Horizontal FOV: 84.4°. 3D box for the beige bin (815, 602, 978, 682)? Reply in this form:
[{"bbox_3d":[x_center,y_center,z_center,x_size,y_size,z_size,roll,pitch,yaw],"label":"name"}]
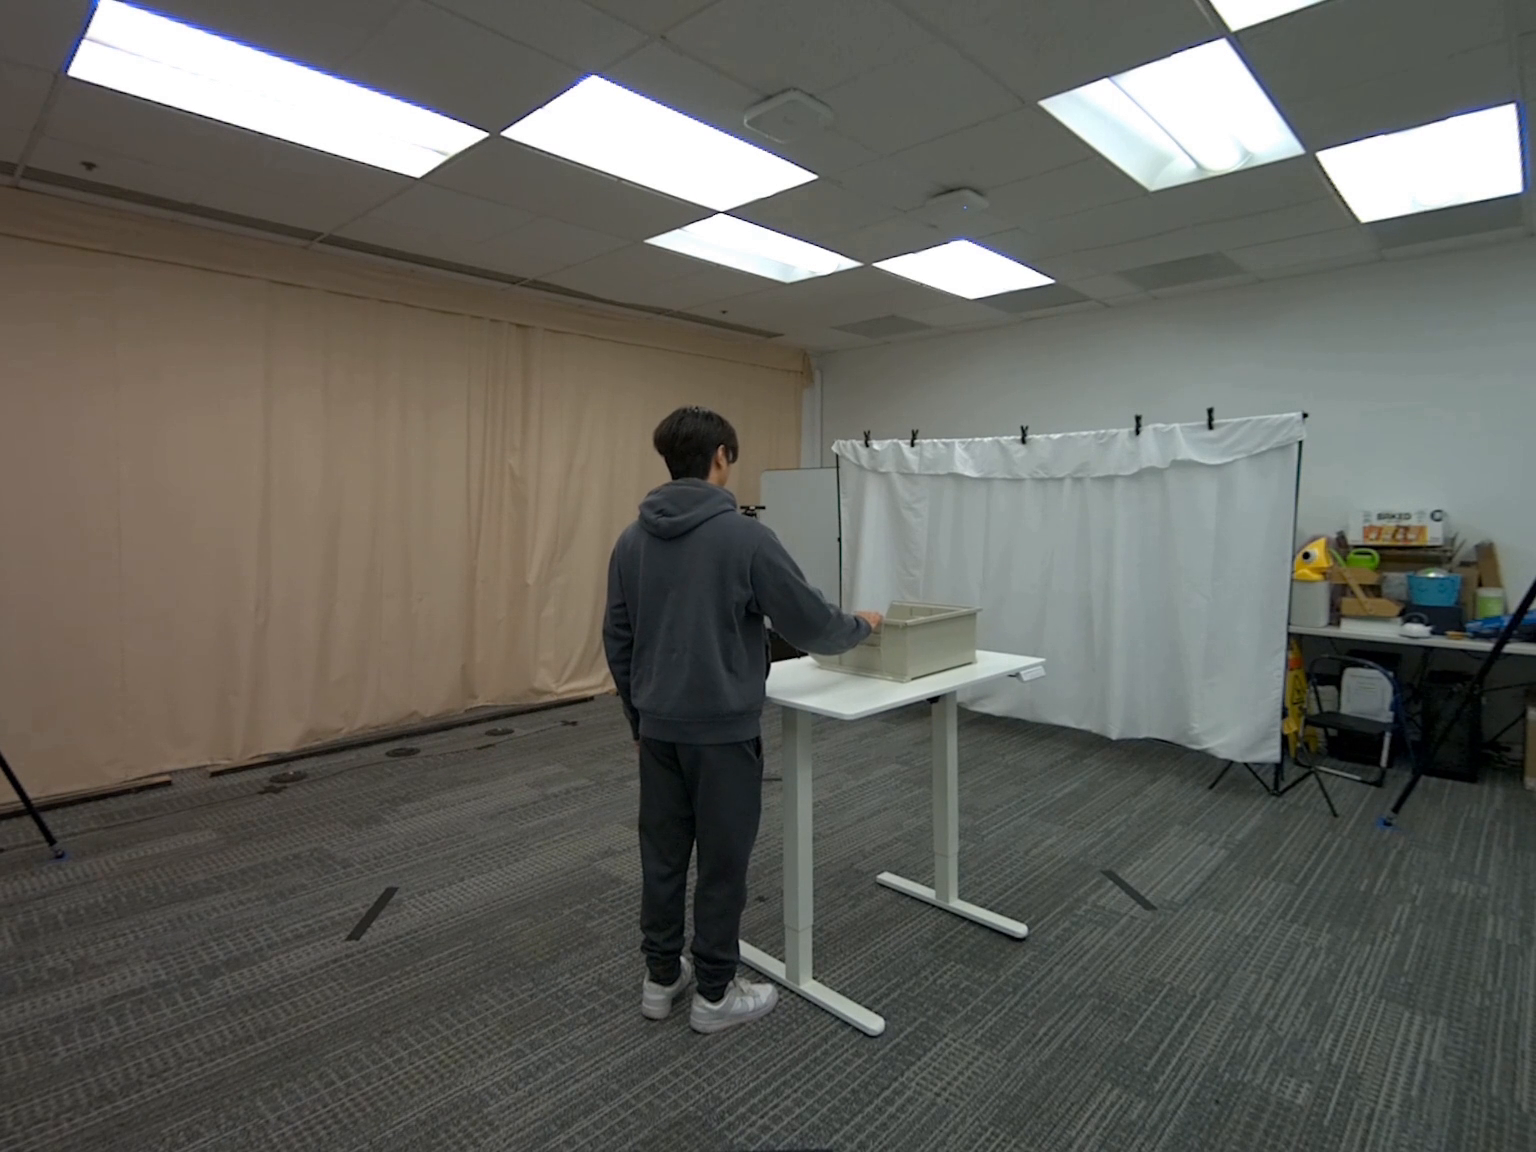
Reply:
[{"bbox_3d":[0.406,0.197,2.670,0.390,0.188,0.409,4,6,44],"label":"beige bin"}]
